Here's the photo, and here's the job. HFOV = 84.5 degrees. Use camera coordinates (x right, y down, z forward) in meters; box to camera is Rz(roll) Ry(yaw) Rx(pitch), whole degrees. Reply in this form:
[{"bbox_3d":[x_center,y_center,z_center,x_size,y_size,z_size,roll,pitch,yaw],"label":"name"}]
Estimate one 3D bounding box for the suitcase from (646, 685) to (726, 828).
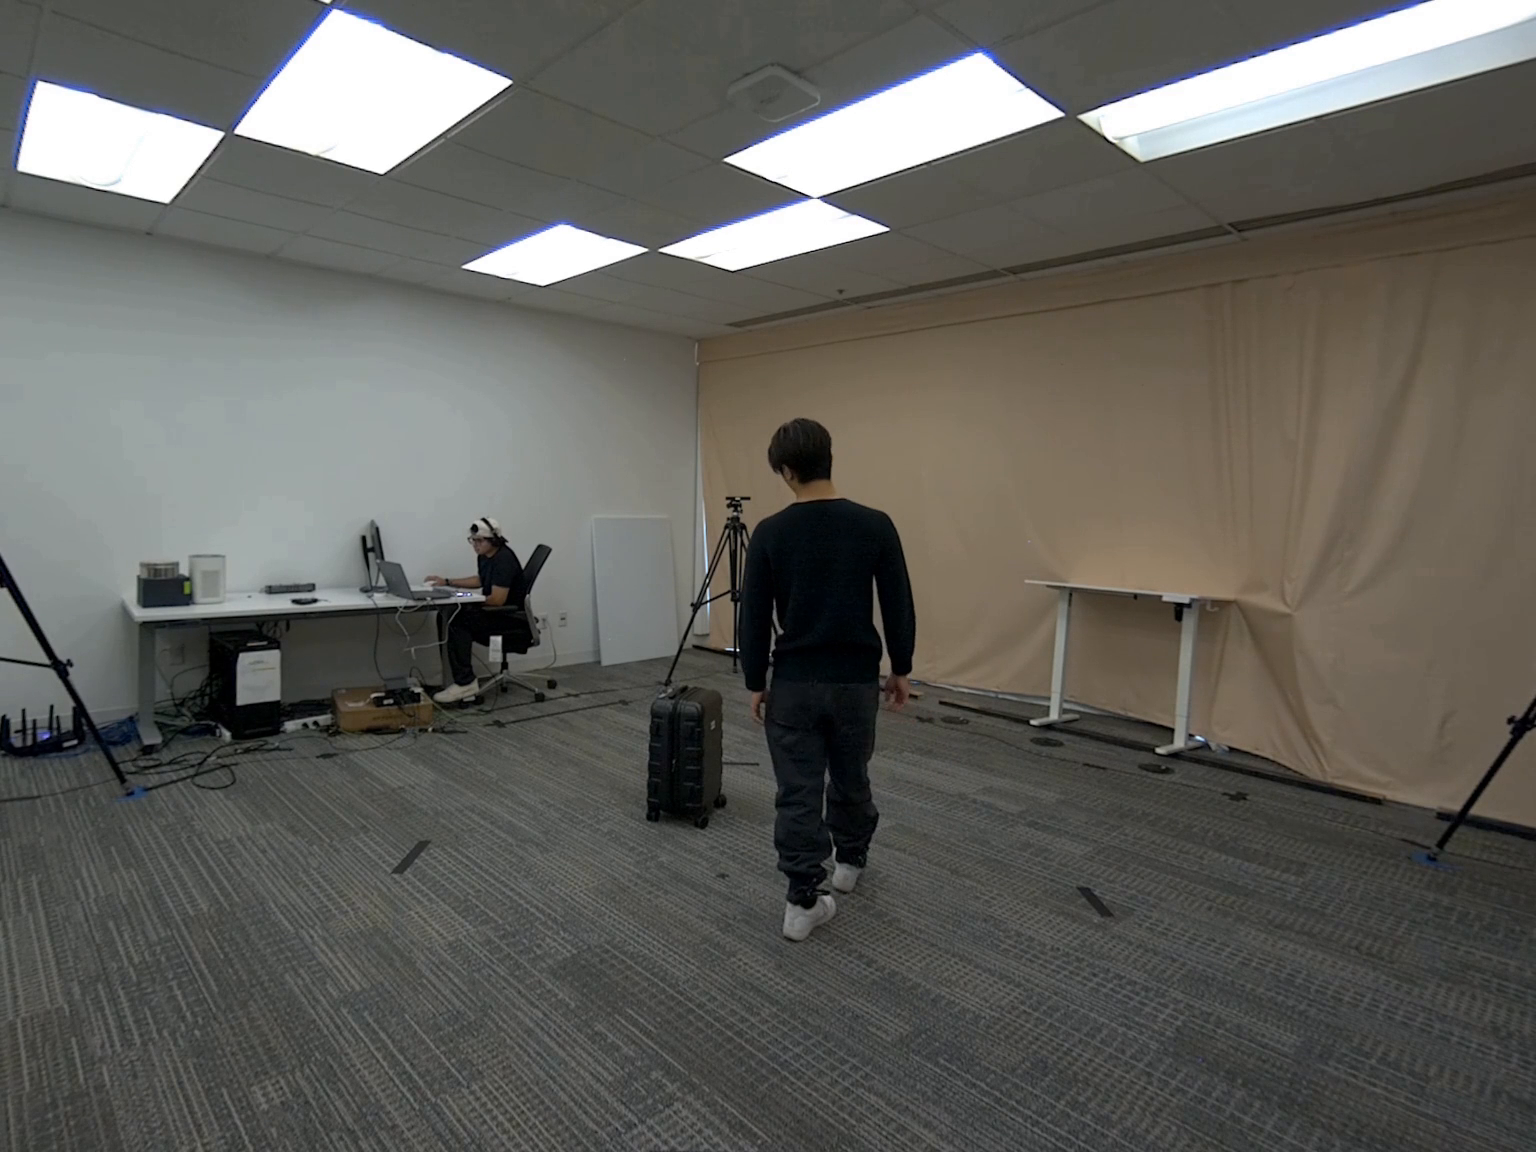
[{"bbox_3d":[-0.372,0.773,3.711,0.251,0.548,0.372,3,3,14],"label":"suitcase"}]
